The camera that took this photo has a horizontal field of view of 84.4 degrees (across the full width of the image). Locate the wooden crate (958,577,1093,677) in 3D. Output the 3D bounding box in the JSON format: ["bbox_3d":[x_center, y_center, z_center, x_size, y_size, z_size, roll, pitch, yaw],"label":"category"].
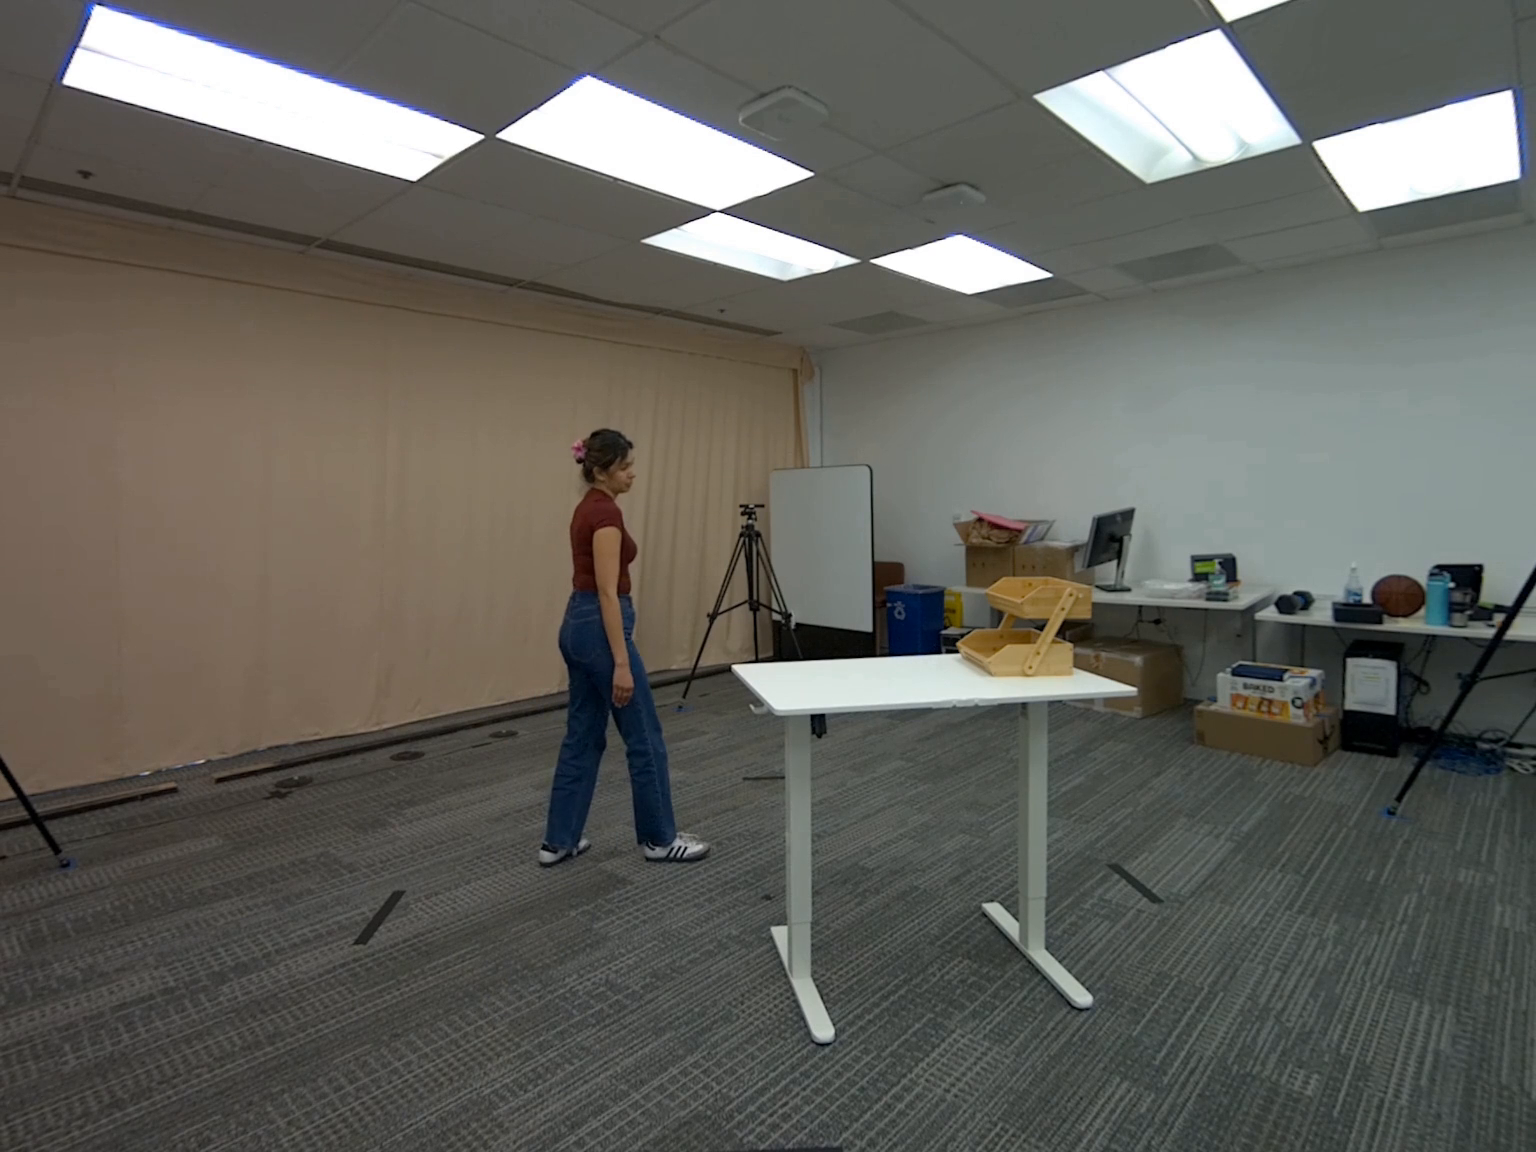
[{"bbox_3d":[0.779,0.148,2.579,0.301,0.272,0.326,-1,5,-3],"label":"wooden crate"}]
